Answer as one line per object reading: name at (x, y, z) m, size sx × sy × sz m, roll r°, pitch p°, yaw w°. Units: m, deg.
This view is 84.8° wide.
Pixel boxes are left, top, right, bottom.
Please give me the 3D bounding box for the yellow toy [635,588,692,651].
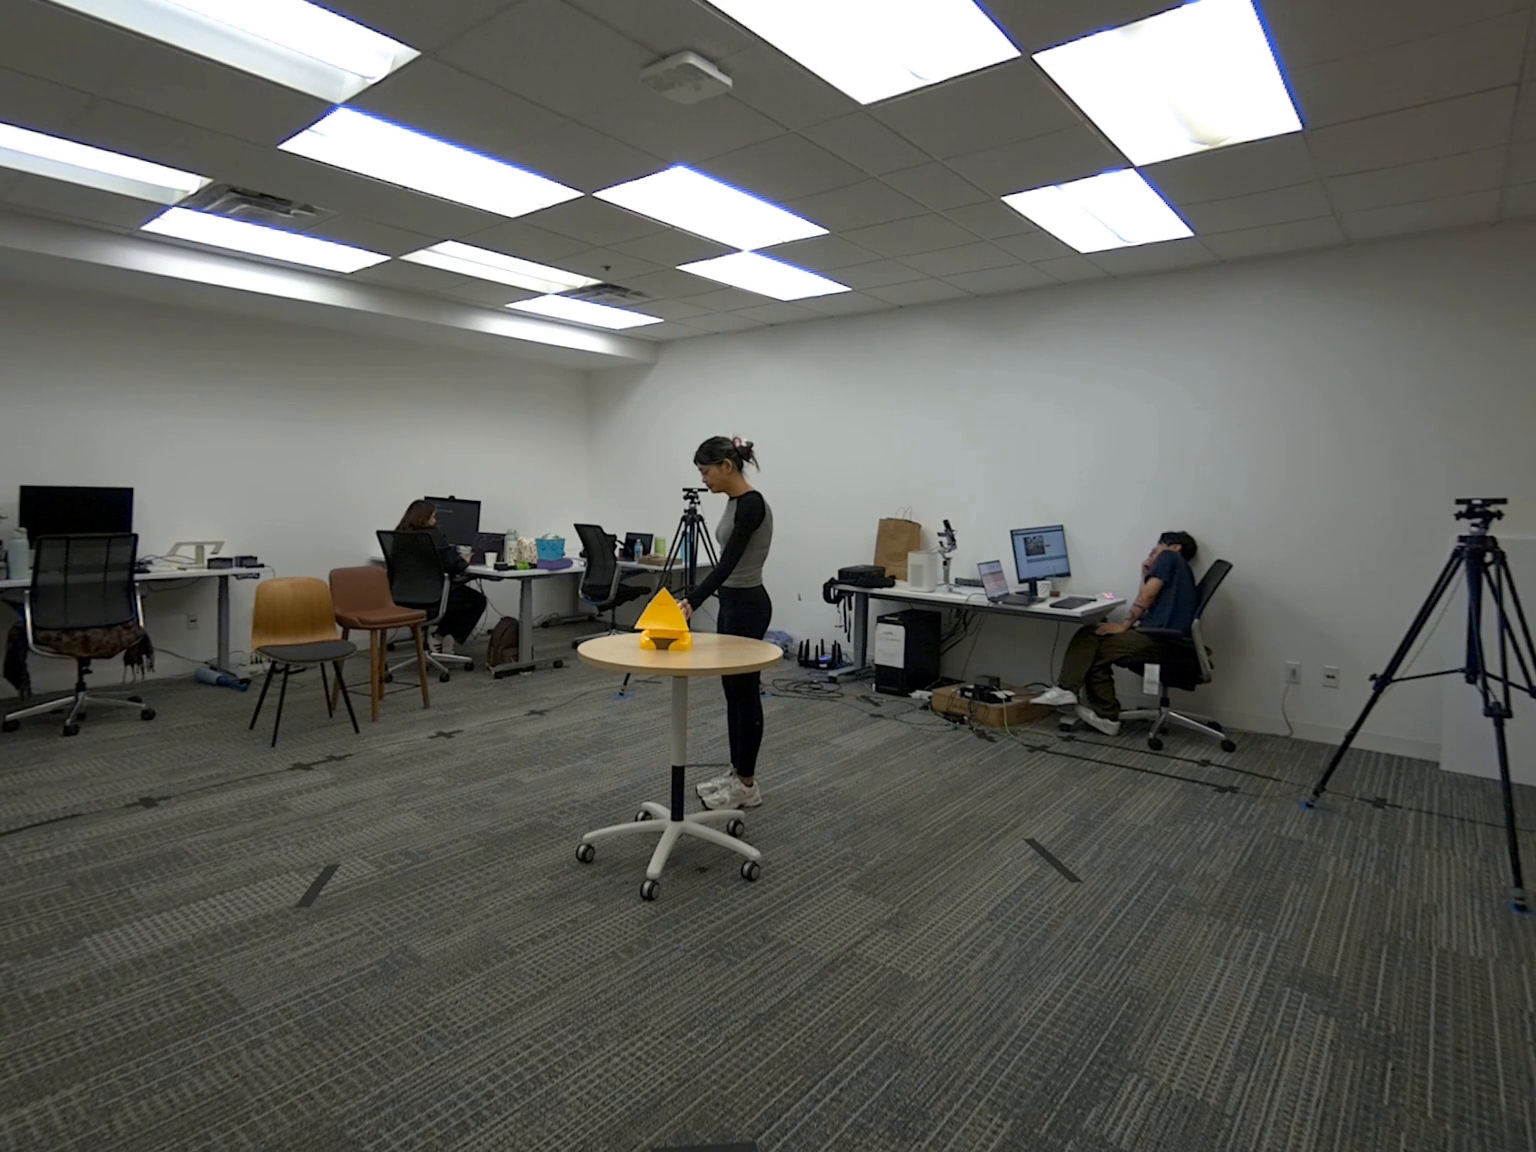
yellow toy at (-0.393, 0.148, 3.209) m, size 0.206 × 0.230 × 0.192 m, roll 2°, pitch 4°, yaw 5°
